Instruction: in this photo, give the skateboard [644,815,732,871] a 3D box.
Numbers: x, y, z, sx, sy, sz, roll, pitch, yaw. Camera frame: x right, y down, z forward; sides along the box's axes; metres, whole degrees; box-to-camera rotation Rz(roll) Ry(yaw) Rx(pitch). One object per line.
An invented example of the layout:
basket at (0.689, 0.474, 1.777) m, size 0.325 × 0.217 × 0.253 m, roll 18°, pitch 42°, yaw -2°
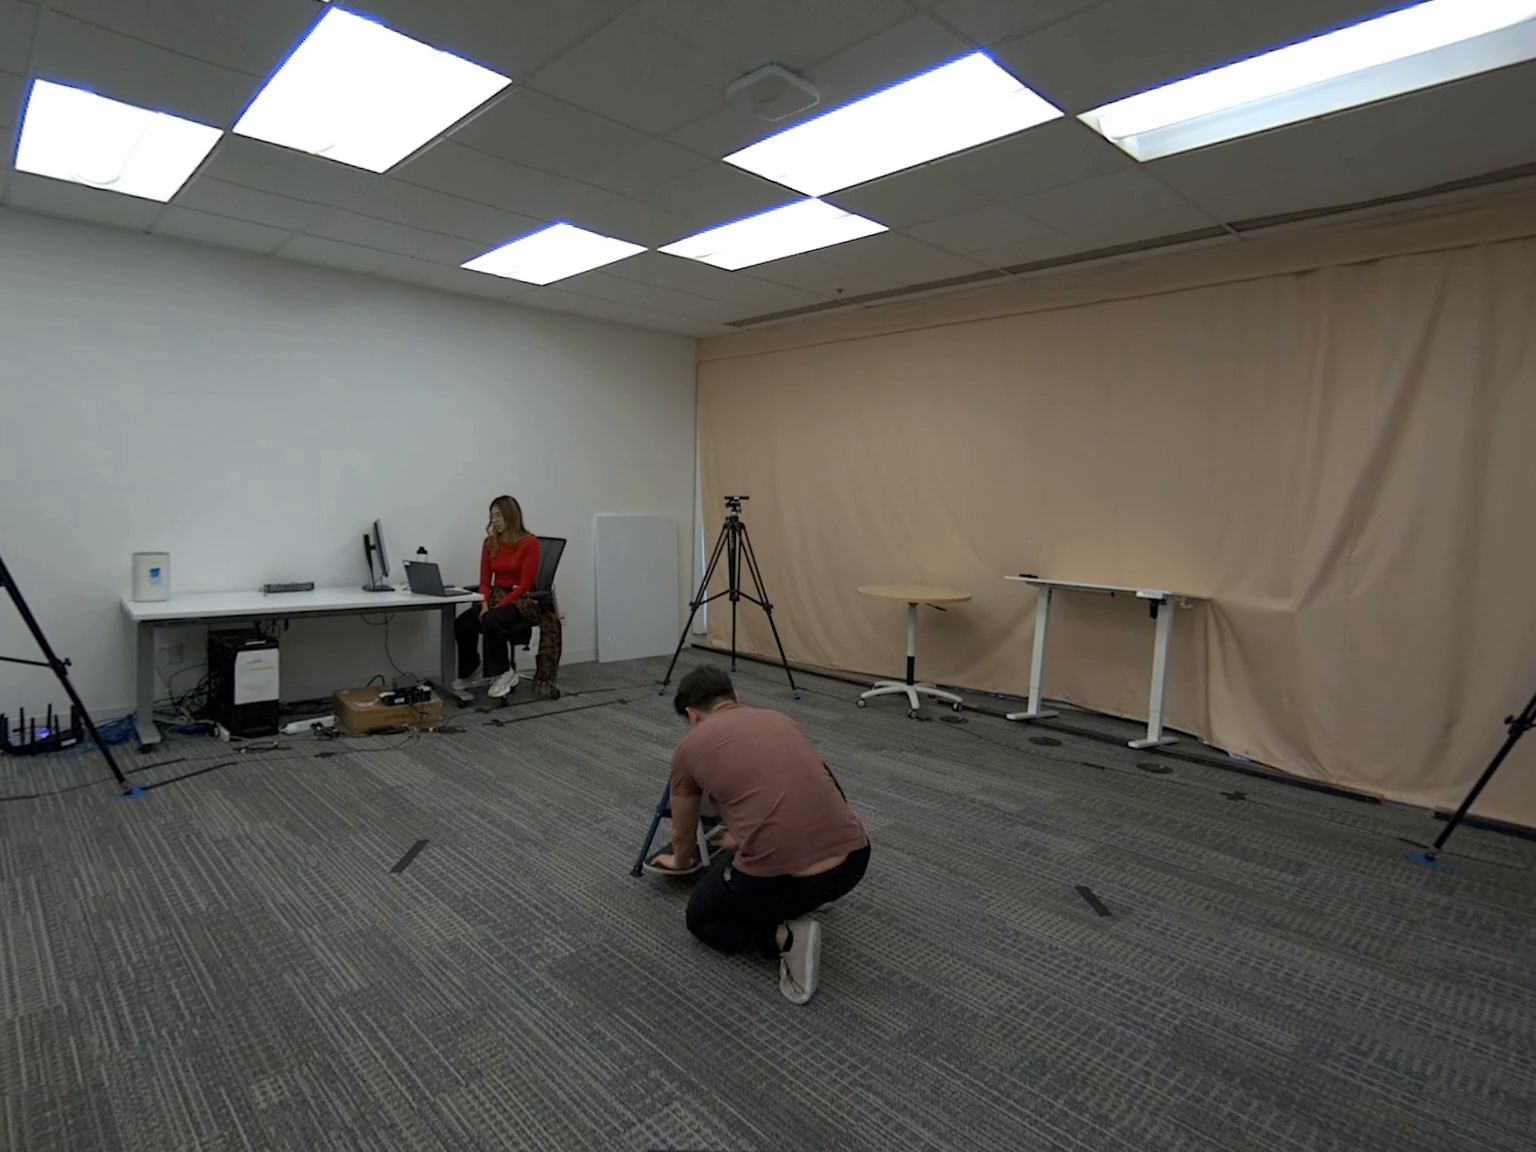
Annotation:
skateboard at (-0.226, 1.029, 3.251) m, size 0.197 × 0.110 × 0.773 m, roll 2°, pitch 5°, yaw 22°
